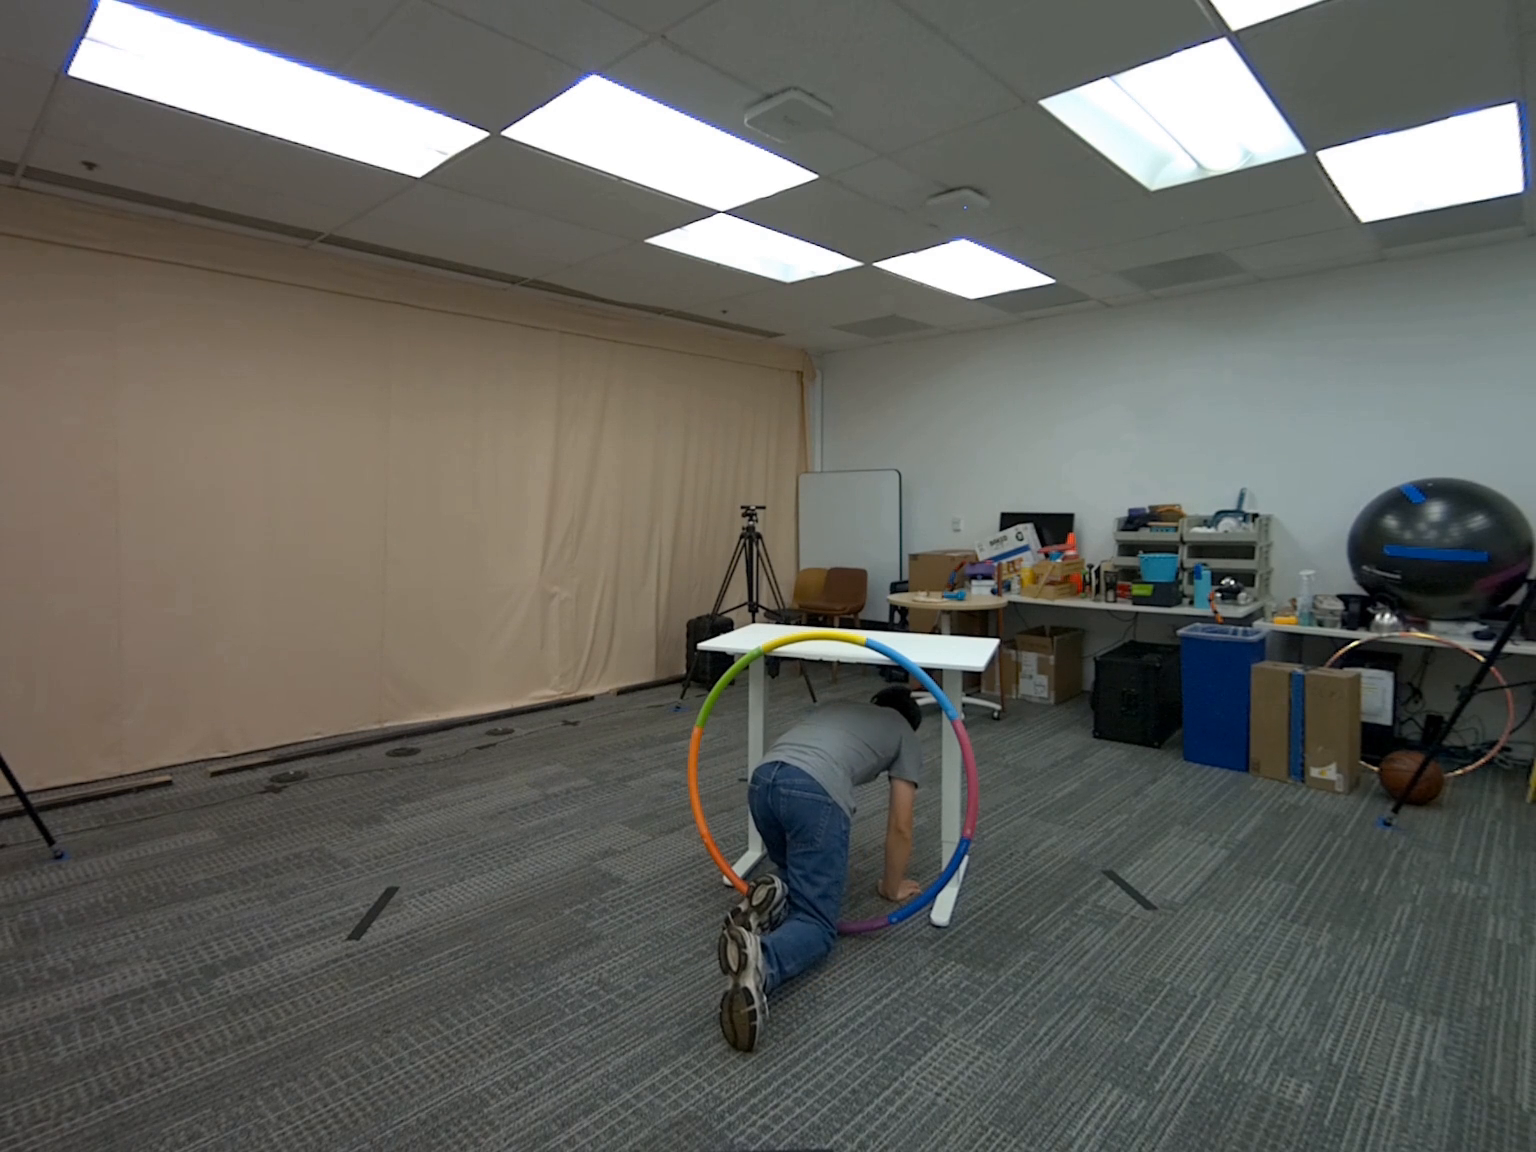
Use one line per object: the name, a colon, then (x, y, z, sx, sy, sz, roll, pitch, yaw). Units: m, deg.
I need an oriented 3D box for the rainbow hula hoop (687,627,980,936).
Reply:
rainbow hula hoop: (0.185, 0.678, 2.811, 1.000, 0.982, 0.034, 1, -6, 21)
